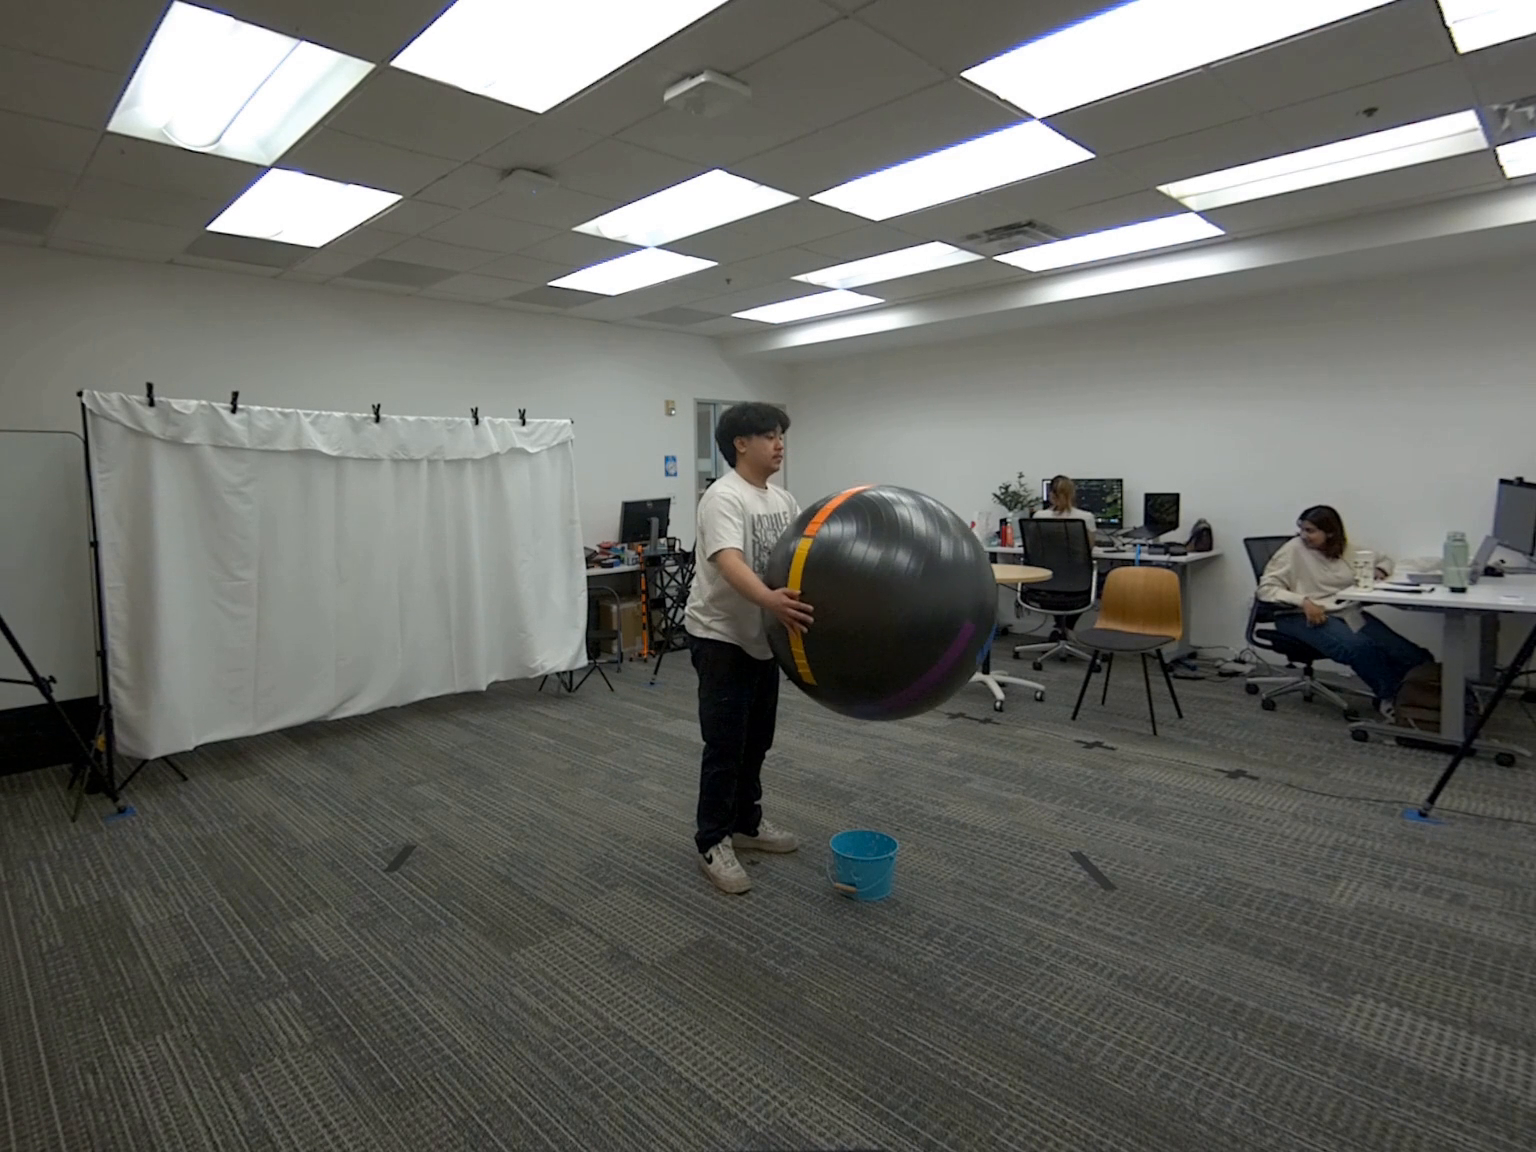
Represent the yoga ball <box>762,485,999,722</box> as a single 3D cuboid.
[{"bbox_3d":[0.366,0.094,2.770,0.757,0.755,0.762,-1,5,-2],"label":"yoga ball"}]
